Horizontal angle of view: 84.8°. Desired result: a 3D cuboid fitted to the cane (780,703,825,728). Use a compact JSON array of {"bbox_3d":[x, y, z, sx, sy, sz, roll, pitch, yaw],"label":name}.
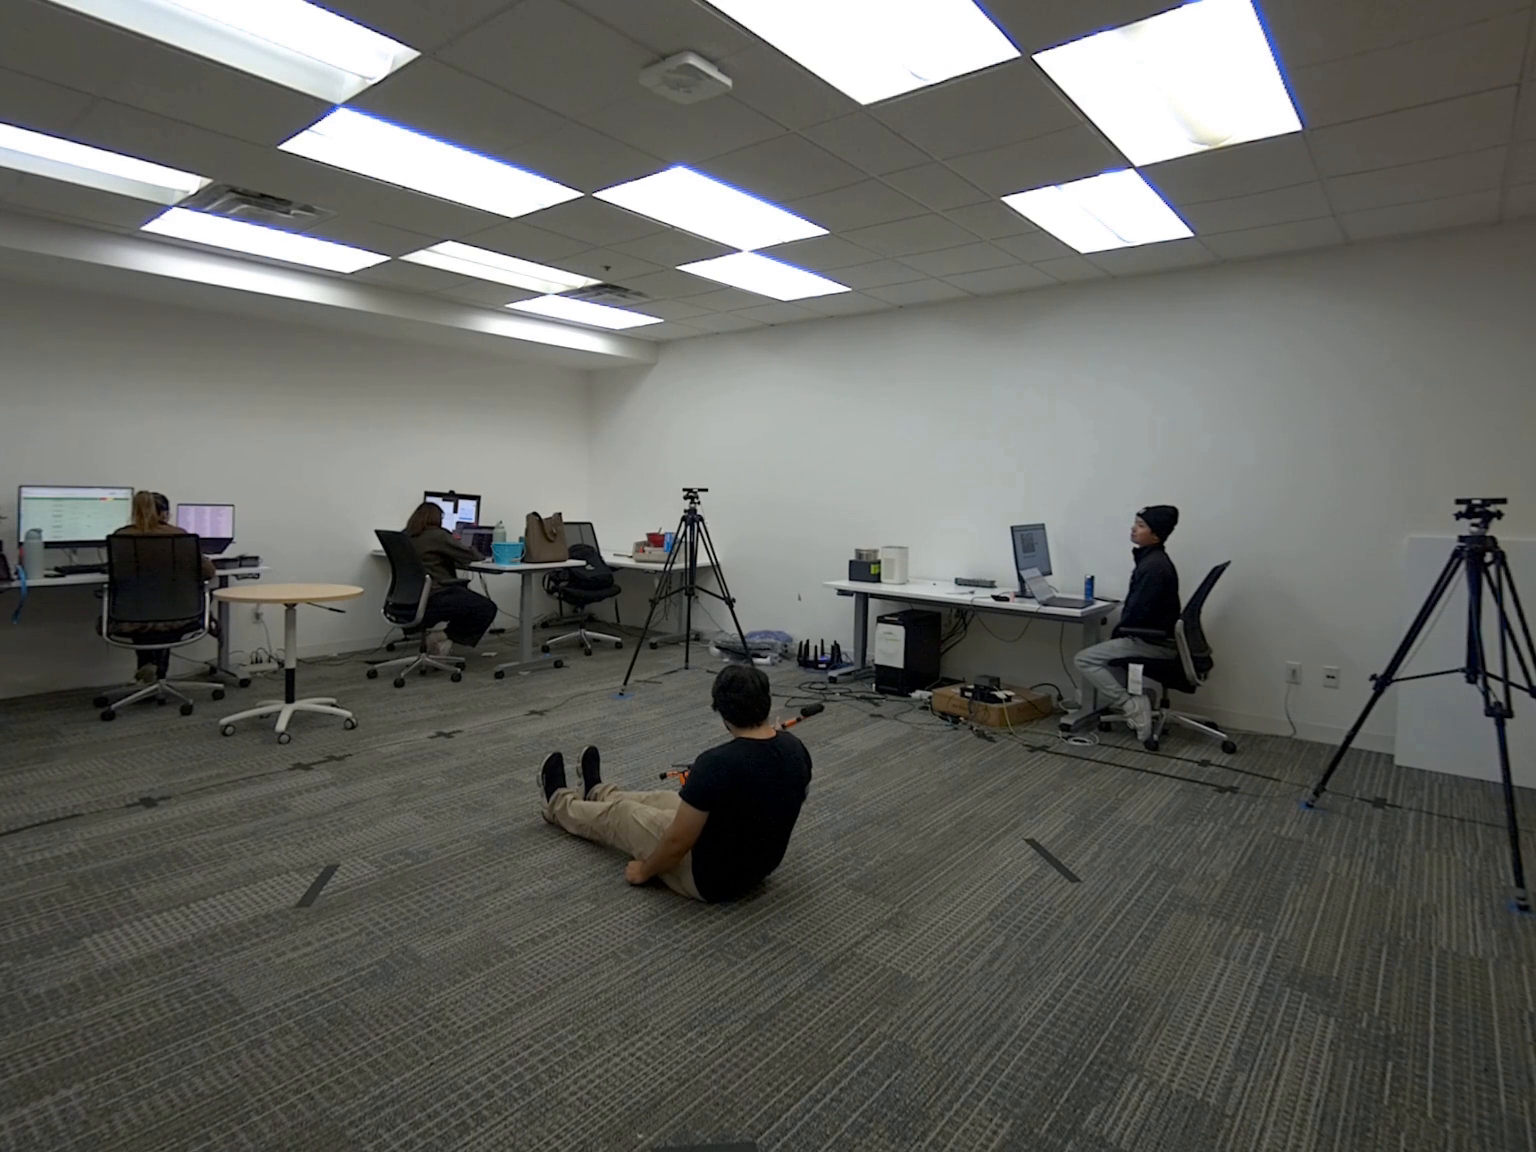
[{"bbox_3d":[-0.097,0.718,3.532,0.200,0.155,0.915,-5,-24,-48],"label":"cane"}]
